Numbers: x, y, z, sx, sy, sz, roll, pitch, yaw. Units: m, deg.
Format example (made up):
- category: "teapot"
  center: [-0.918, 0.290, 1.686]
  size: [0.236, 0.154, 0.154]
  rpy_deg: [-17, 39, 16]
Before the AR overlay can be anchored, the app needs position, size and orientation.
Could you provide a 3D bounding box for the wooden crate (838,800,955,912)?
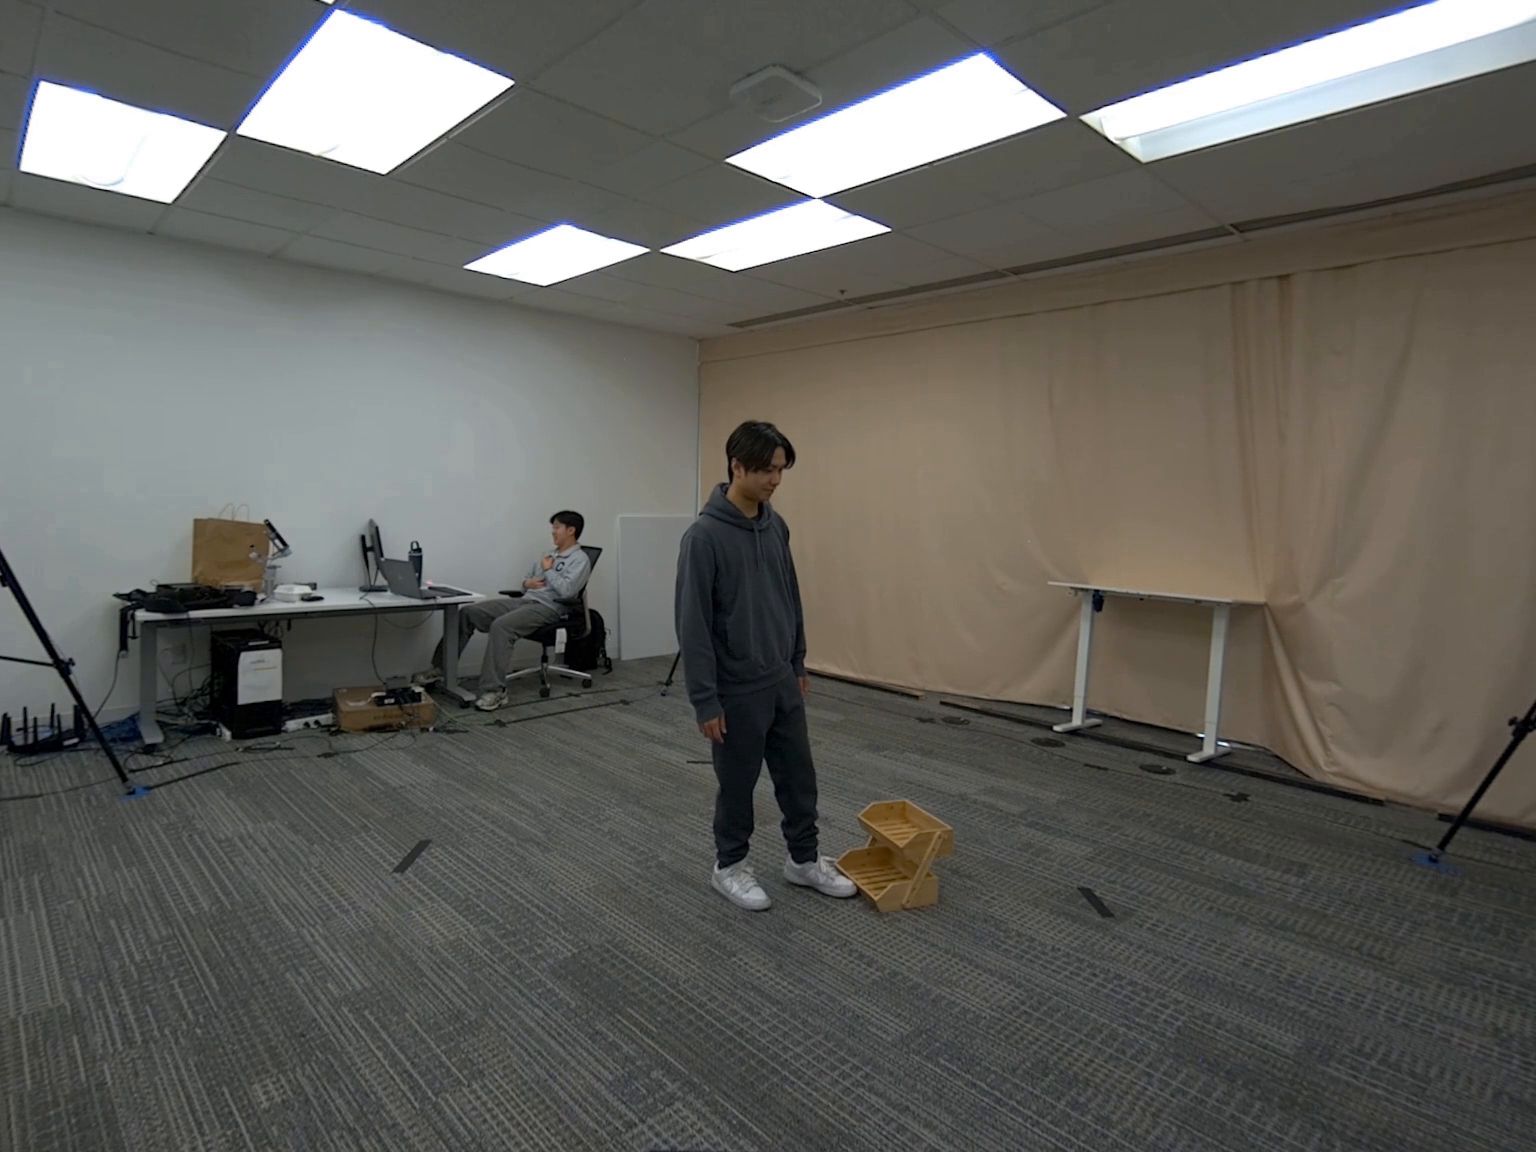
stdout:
- category: "wooden crate"
  center: [0.434, 0.990, 3.025]
  size: [0.297, 0.273, 0.331]
  rpy_deg: [1, 4, -23]
